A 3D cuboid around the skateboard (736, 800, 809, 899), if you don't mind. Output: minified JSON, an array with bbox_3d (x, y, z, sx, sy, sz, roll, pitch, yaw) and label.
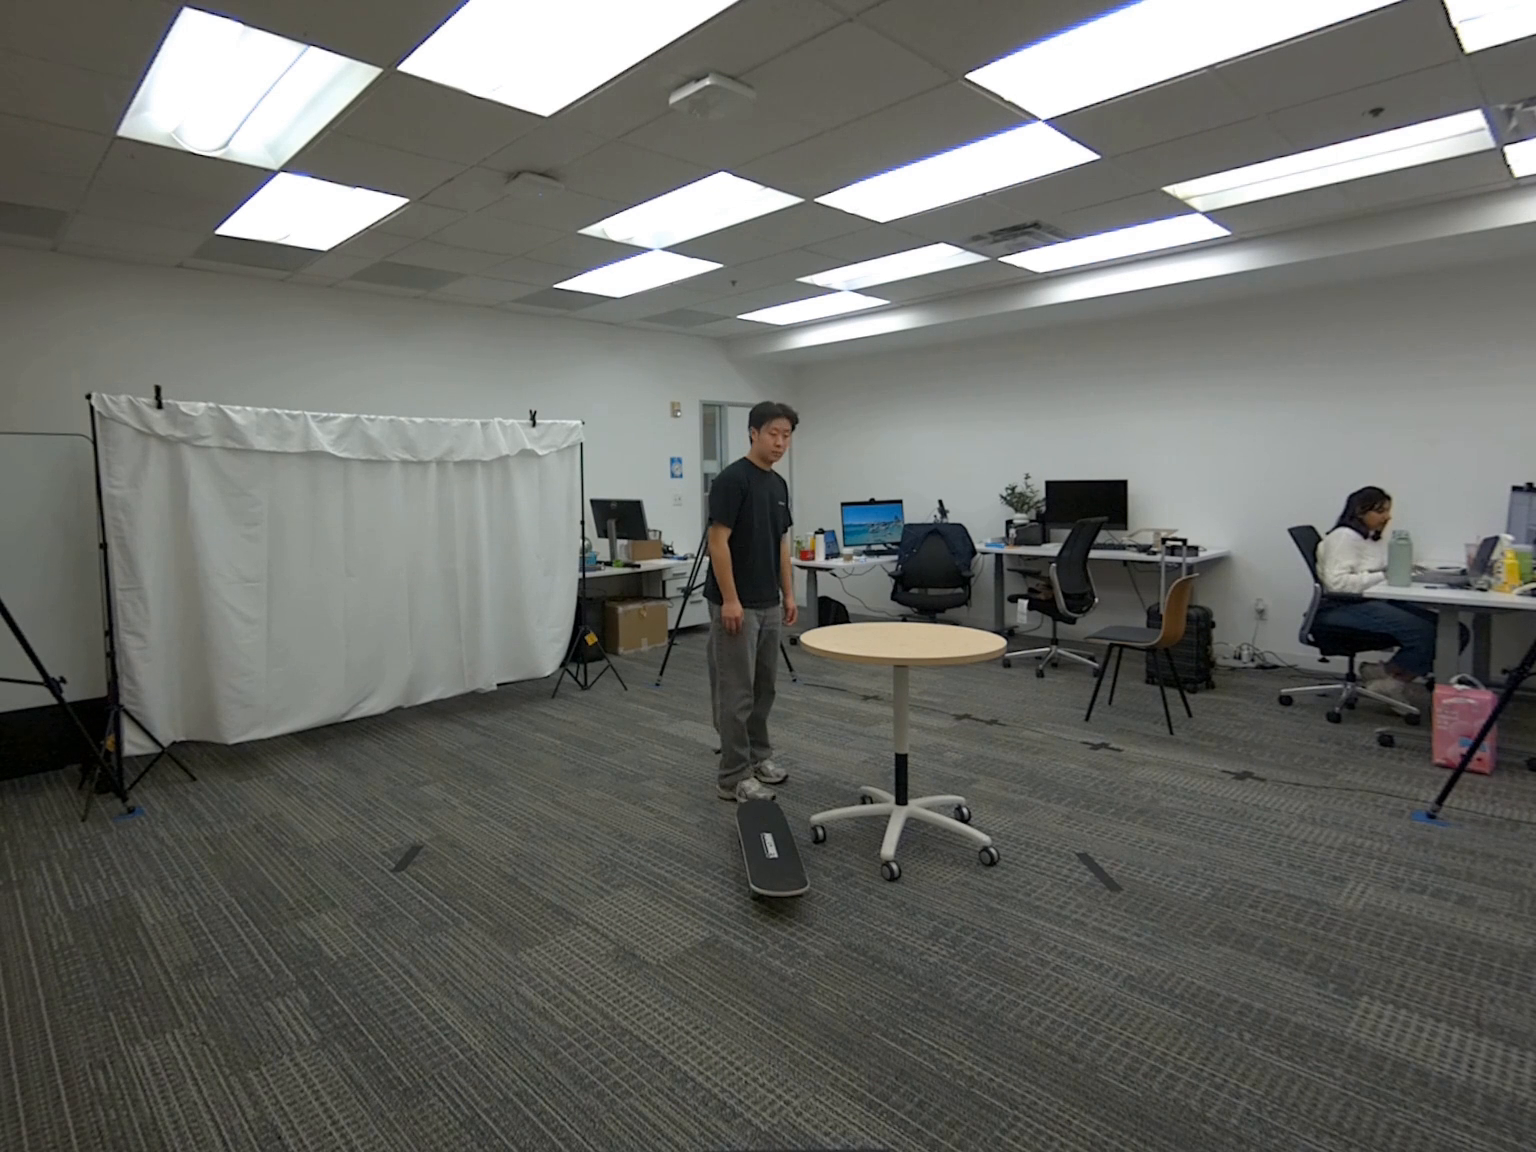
[{"bbox_3d":[0.004,0.998,3.057,0.192,0.110,0.793,-2,6,-7],"label":"skateboard"}]
